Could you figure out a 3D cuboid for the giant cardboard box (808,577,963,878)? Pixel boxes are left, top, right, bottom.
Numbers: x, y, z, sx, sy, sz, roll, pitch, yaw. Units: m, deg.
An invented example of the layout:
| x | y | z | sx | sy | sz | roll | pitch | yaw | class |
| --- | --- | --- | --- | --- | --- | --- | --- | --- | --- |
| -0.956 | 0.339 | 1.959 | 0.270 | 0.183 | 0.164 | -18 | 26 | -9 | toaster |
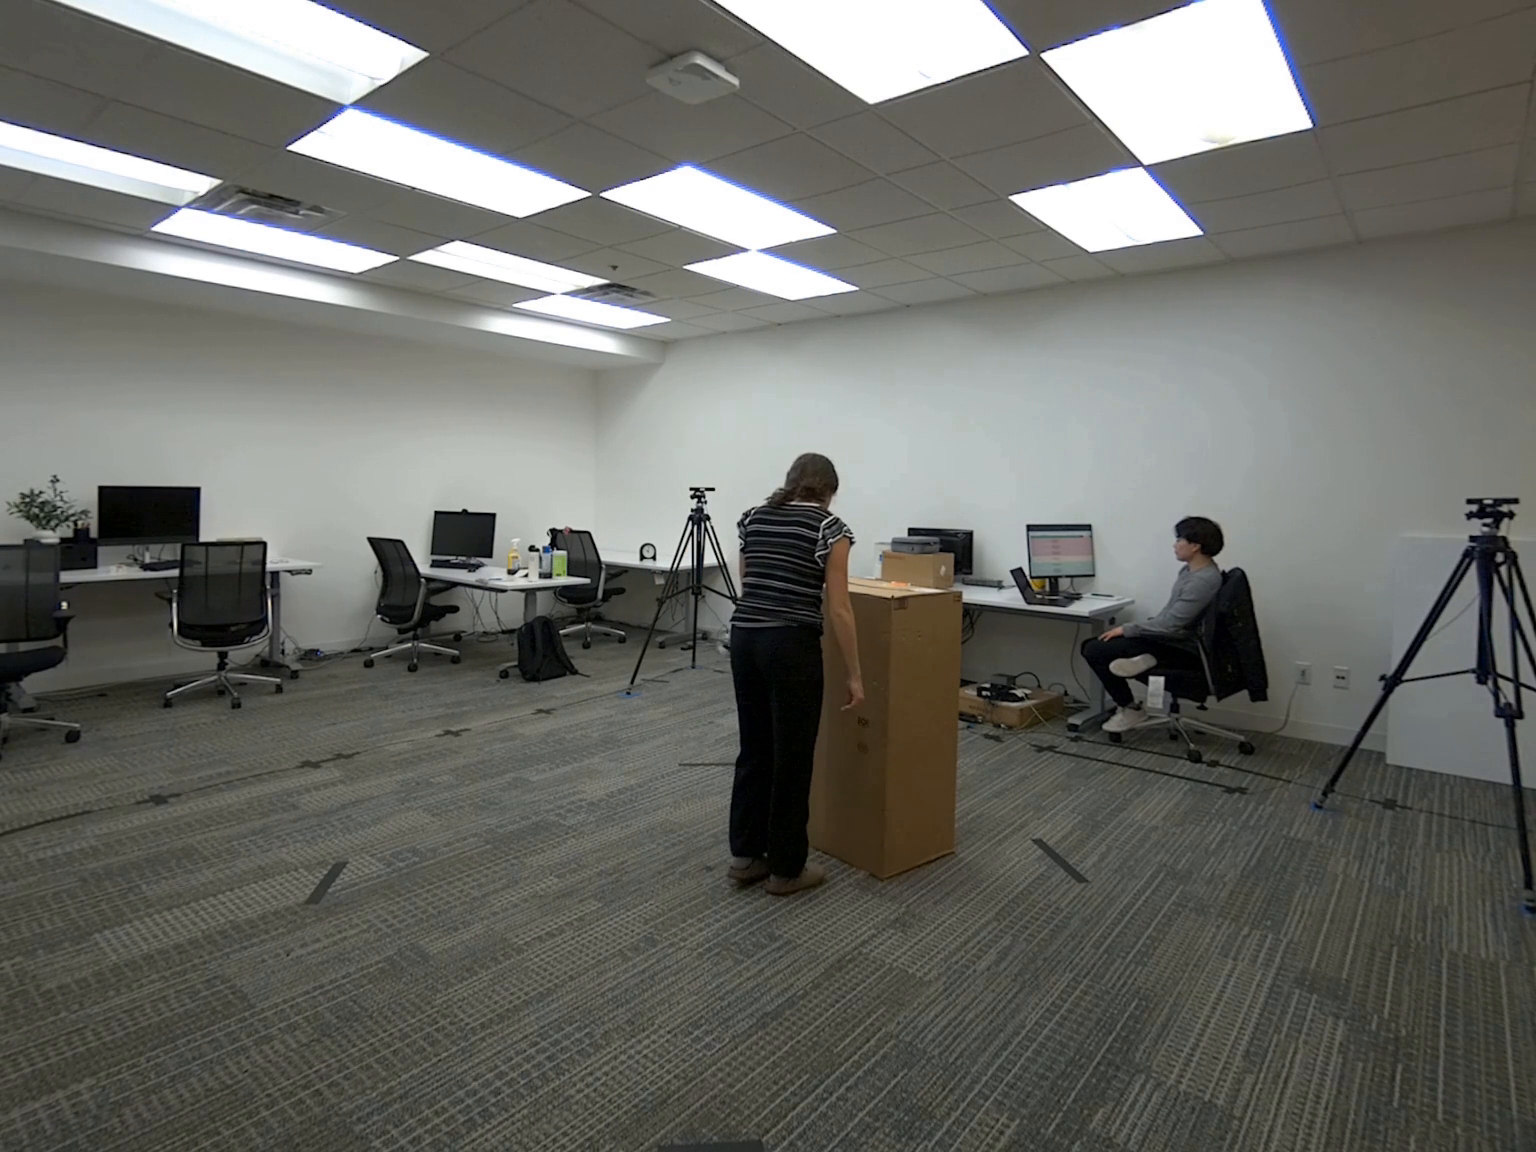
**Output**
| x | y | z | sx | sy | sz | roll | pitch | yaw | class |
| --- | --- | --- | --- | --- | --- | --- | --- | --- | --- |
| 0.385 | 0.545 | 3.377 | 0.413 | 1.023 | 0.597 | -1 | 4 | -41 | giant cardboard box |
